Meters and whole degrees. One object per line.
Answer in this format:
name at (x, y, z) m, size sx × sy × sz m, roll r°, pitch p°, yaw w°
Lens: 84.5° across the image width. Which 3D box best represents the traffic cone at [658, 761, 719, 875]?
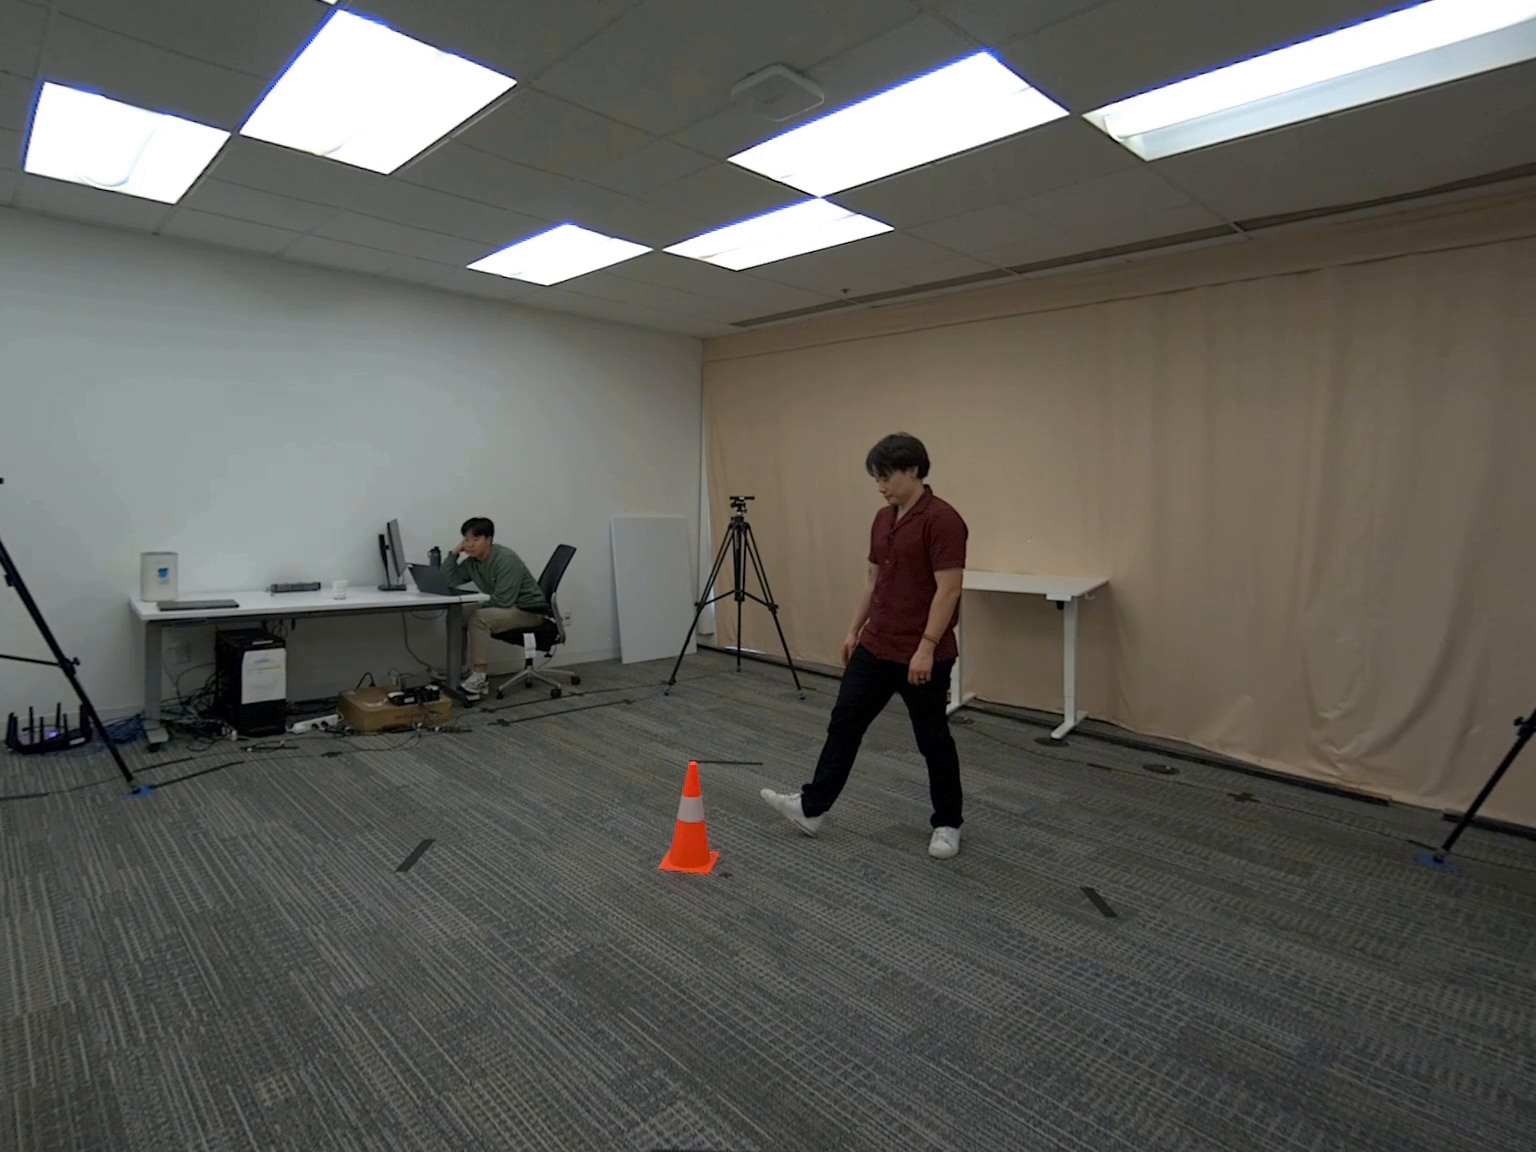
traffic cone at (-0.309, 0.902, 3.219) m, size 0.207 × 0.383 × 0.201 m, roll 2°, pitch 3°, yaw 14°
